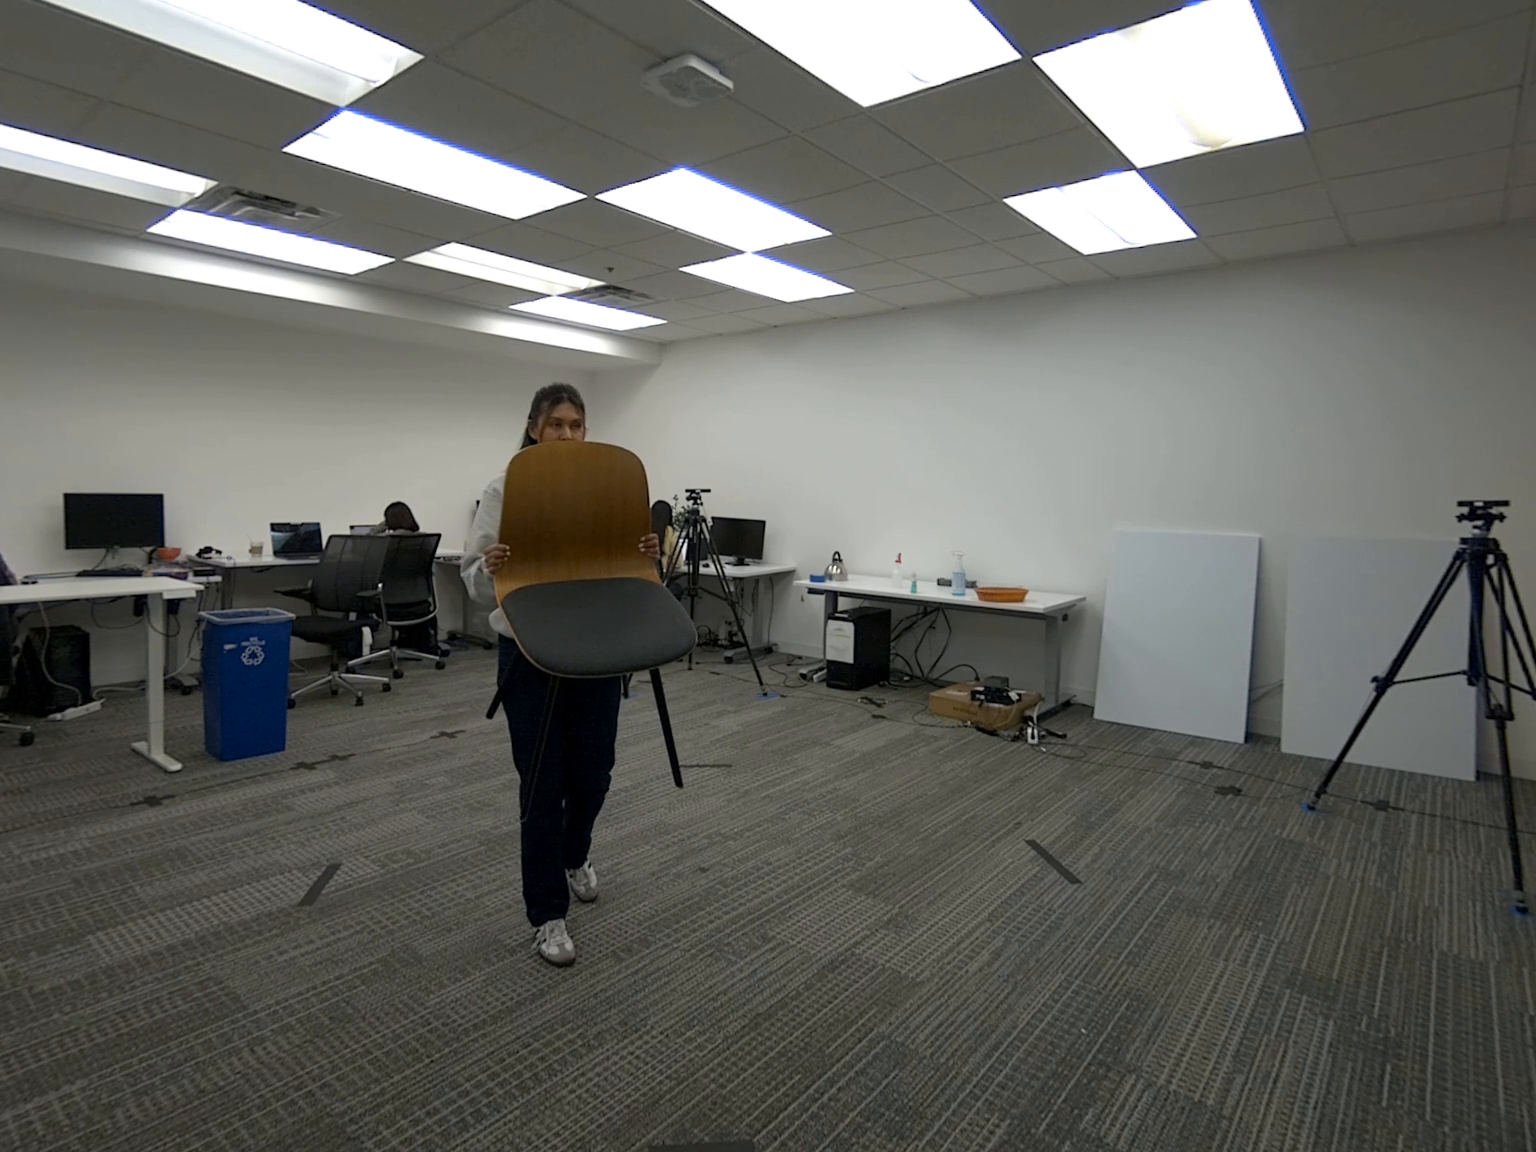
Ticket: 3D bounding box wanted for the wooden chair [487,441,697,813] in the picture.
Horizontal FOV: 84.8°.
[{"bbox_3d":[-0.475,0.129,2.285,0.467,0.863,0.544,-4,23,-27],"label":"wooden chair"}]
